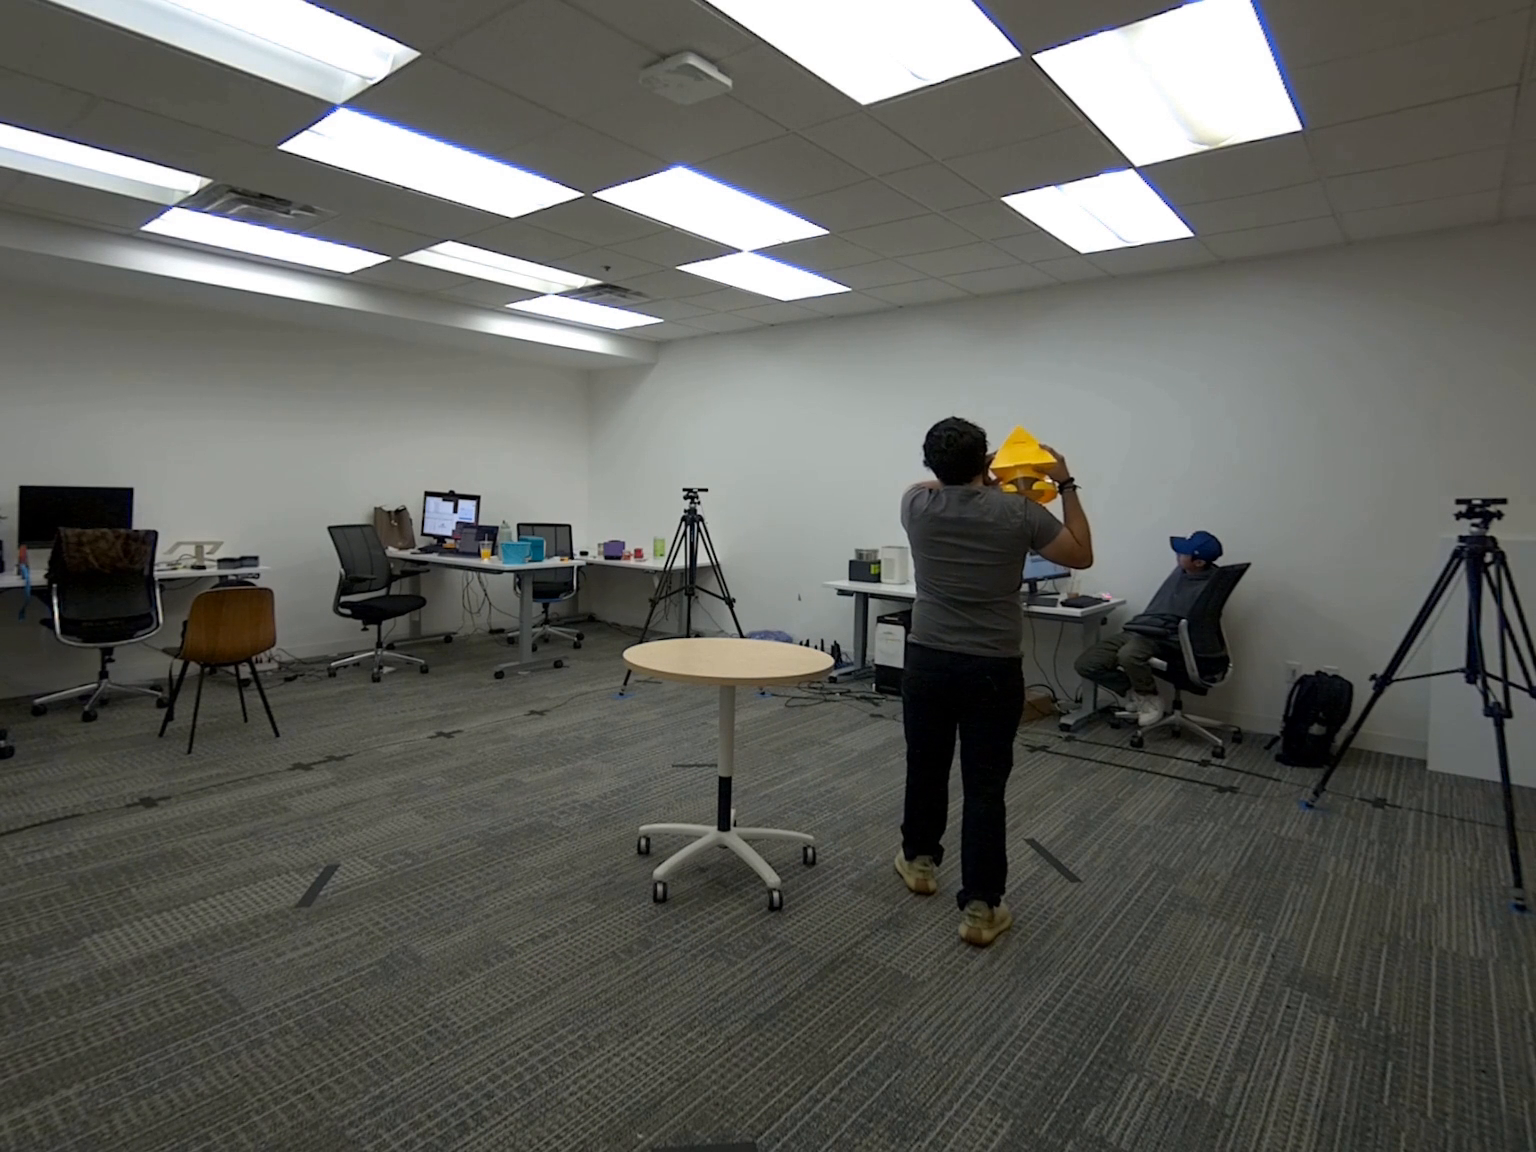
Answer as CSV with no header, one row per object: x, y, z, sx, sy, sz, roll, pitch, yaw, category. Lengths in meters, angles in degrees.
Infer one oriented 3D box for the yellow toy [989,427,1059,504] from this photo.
0.824,-0.372,2.803,0.208,0.234,0.187,-5,-16,15,yellow toy
